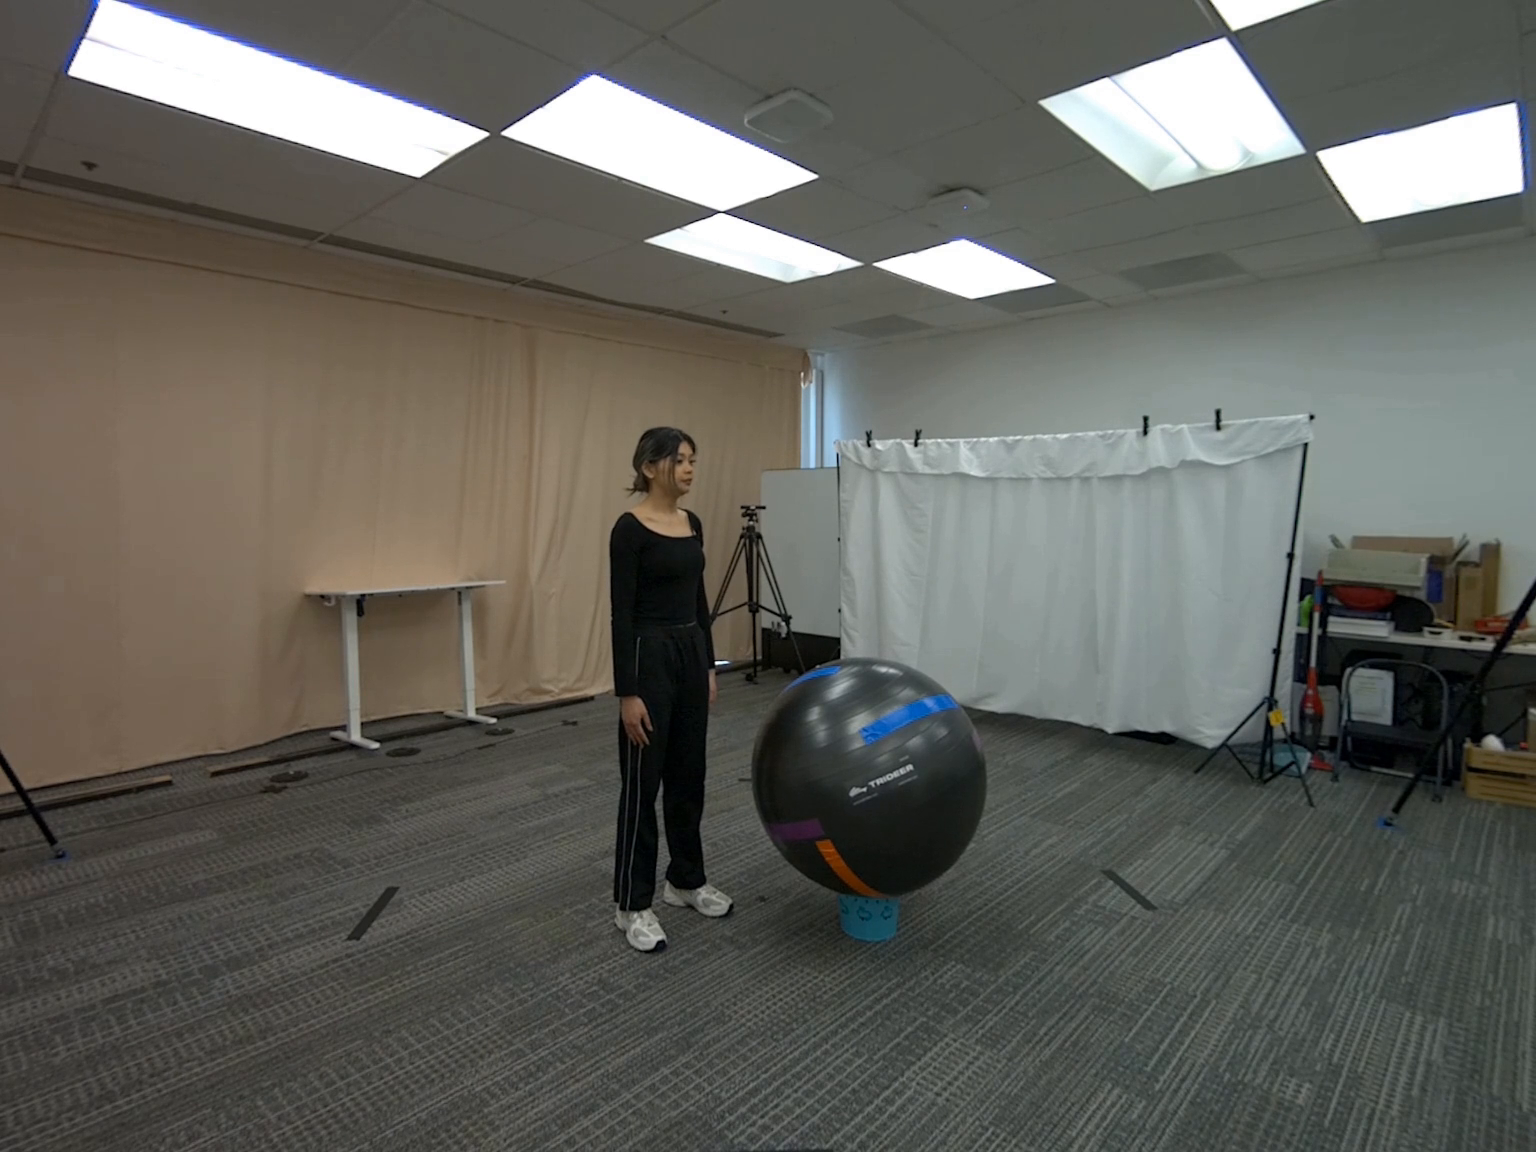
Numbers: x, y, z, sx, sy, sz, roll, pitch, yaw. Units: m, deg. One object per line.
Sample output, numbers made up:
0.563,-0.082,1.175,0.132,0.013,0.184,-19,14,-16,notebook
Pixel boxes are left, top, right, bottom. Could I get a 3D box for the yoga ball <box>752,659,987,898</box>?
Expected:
0.332,0.649,2.758,0.757,0.756,0.760,0,4,-2,yoga ball
